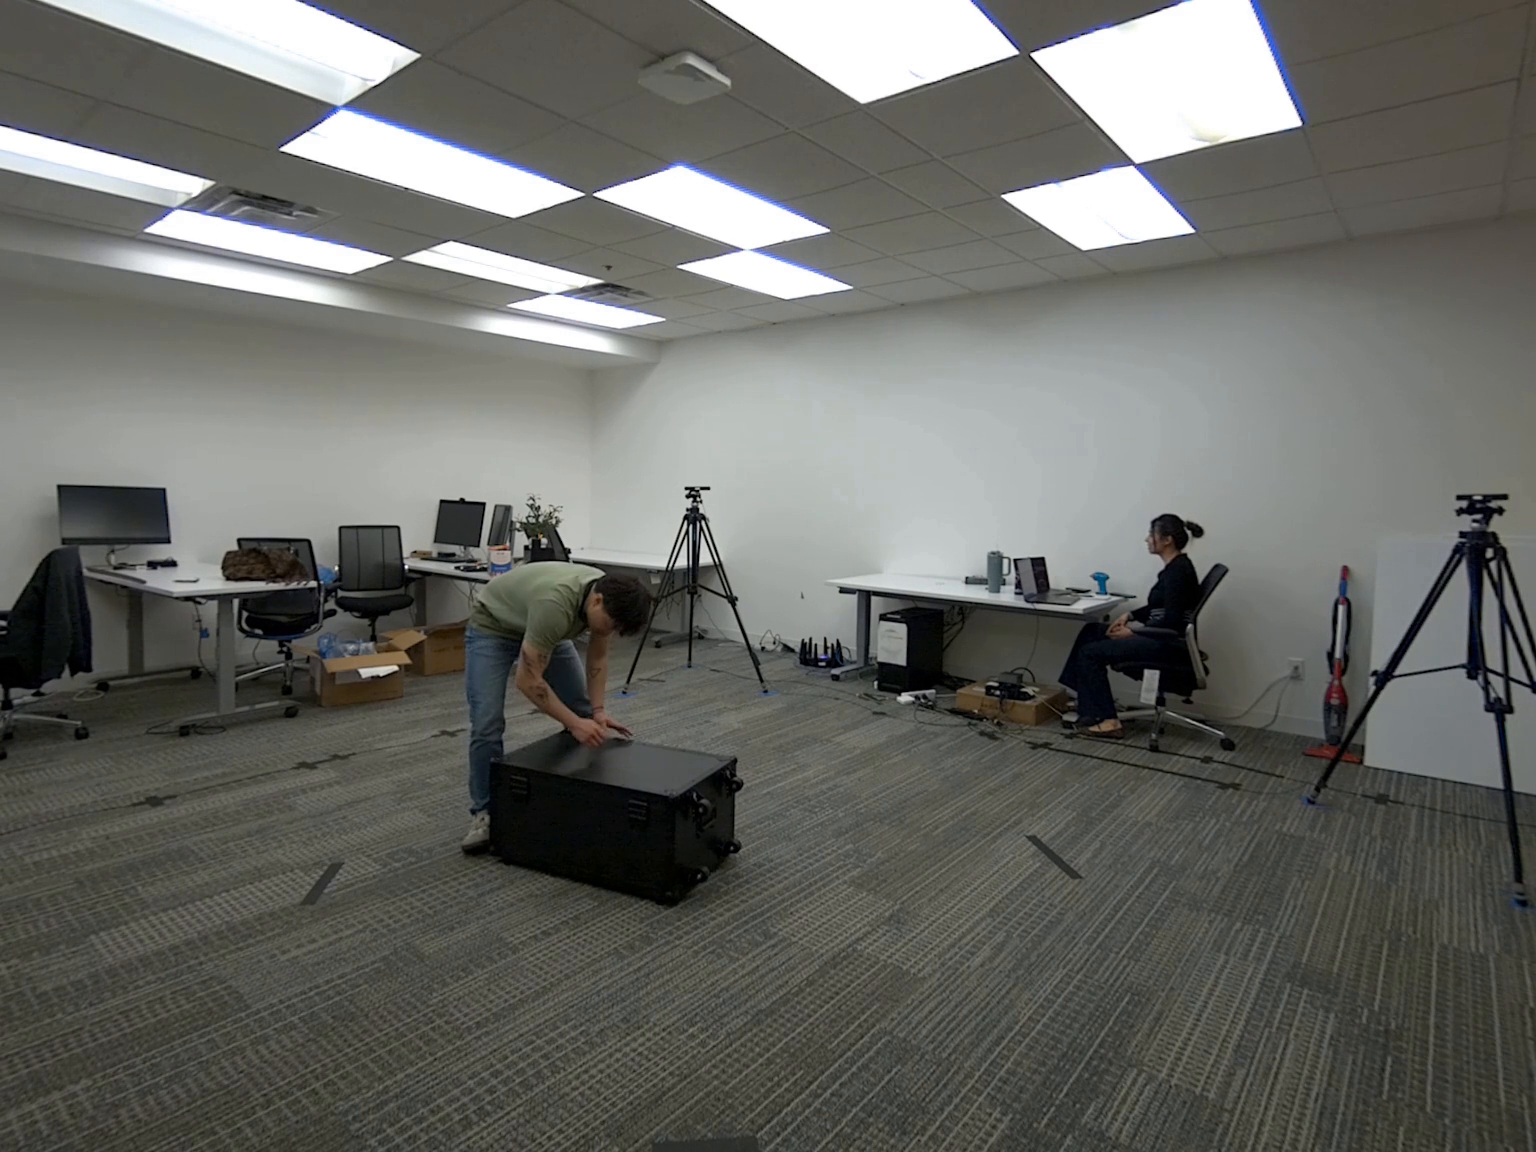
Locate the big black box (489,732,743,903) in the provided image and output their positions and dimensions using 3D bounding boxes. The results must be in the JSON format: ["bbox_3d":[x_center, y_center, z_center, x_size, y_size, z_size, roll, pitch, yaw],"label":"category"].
[{"bbox_3d":[-0.553,0.866,3.149,0.883,0.395,0.510,2,5,25],"label":"big black box"}]
